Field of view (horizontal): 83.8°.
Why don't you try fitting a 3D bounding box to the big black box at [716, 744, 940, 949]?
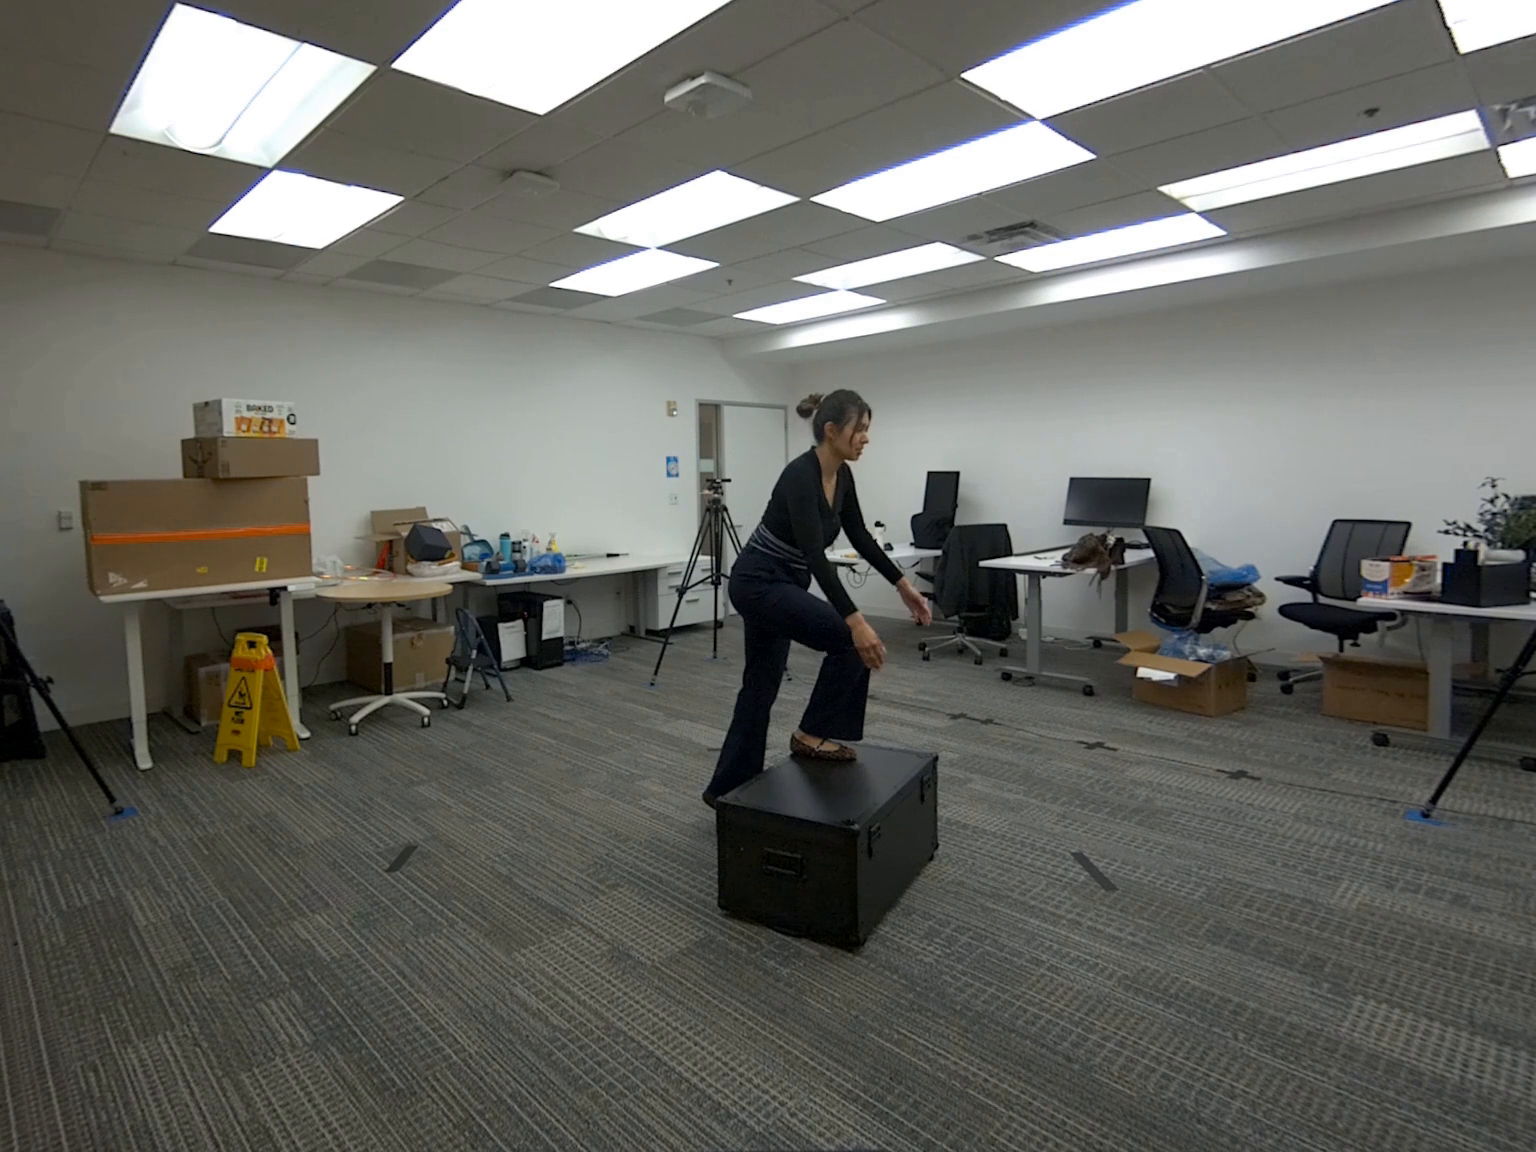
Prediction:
[{"bbox_3d":[0.252,0.869,2.956,0.534,0.395,0.843,1,6,29],"label":"big black box"}]
